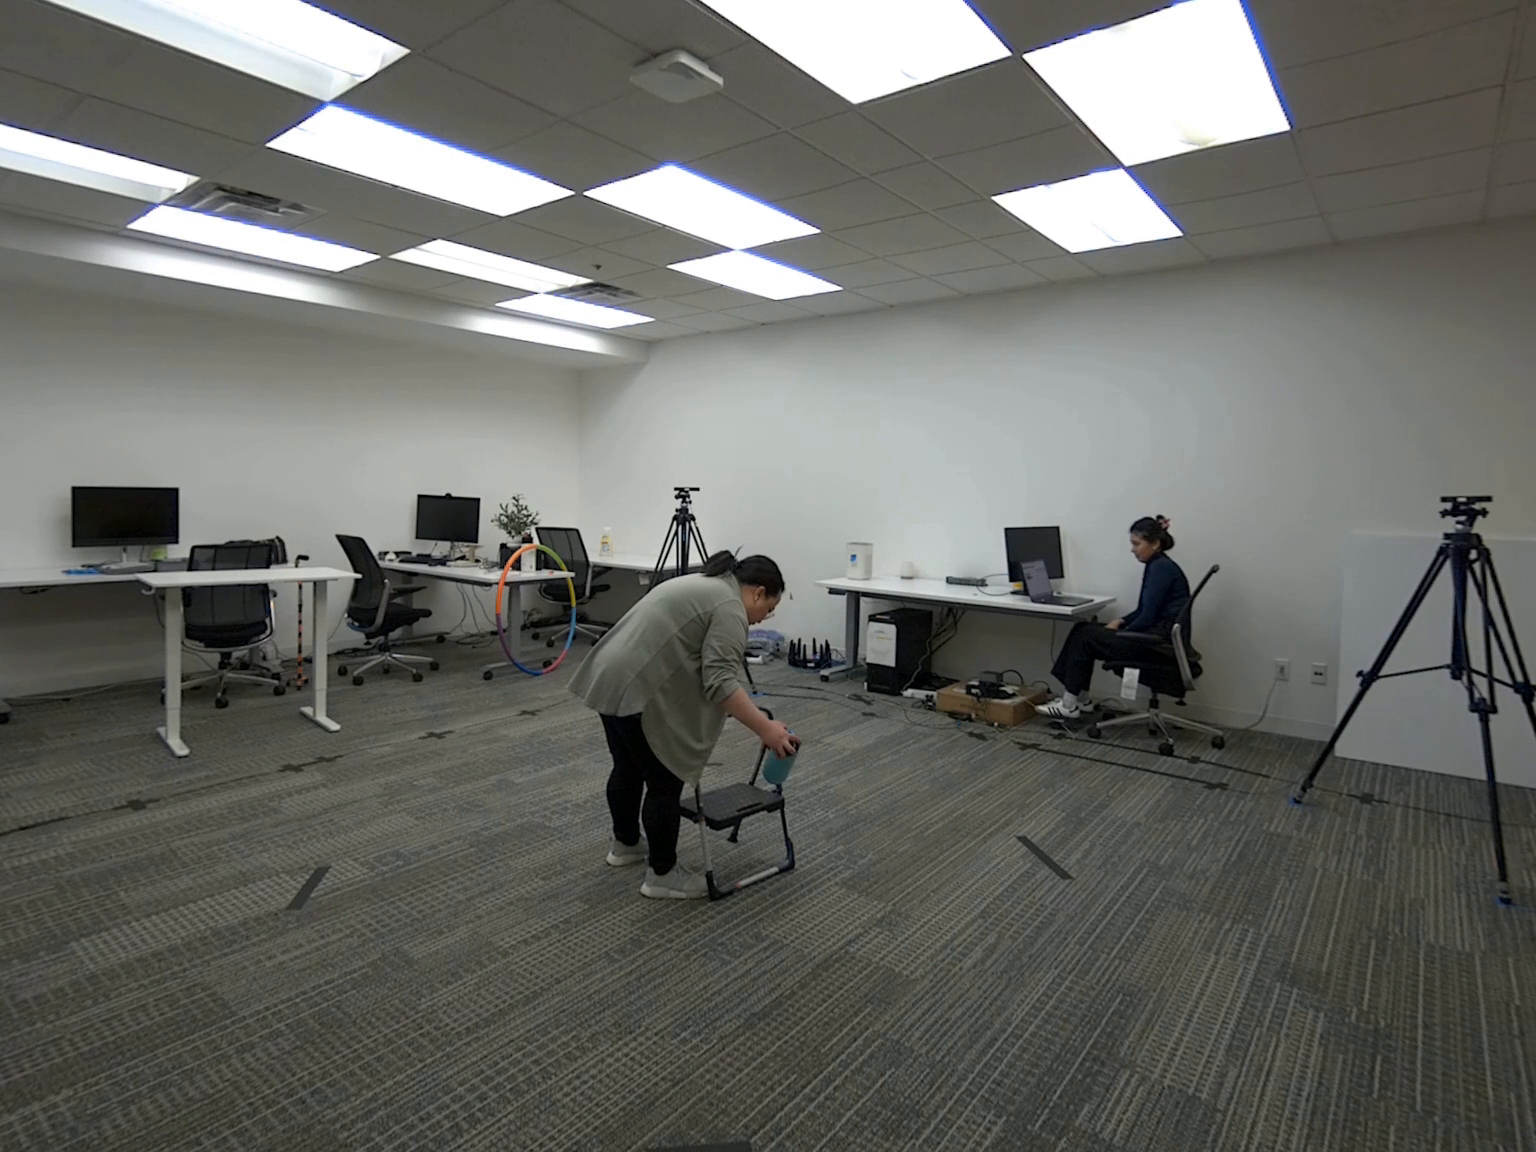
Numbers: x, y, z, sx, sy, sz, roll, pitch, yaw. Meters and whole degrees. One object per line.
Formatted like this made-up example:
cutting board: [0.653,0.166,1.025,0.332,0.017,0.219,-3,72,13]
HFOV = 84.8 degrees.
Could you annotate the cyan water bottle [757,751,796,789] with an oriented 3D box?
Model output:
cyan water bottle: [0.022,0.599,2.839,0.091,0.095,0.278,1,-35,-14]
